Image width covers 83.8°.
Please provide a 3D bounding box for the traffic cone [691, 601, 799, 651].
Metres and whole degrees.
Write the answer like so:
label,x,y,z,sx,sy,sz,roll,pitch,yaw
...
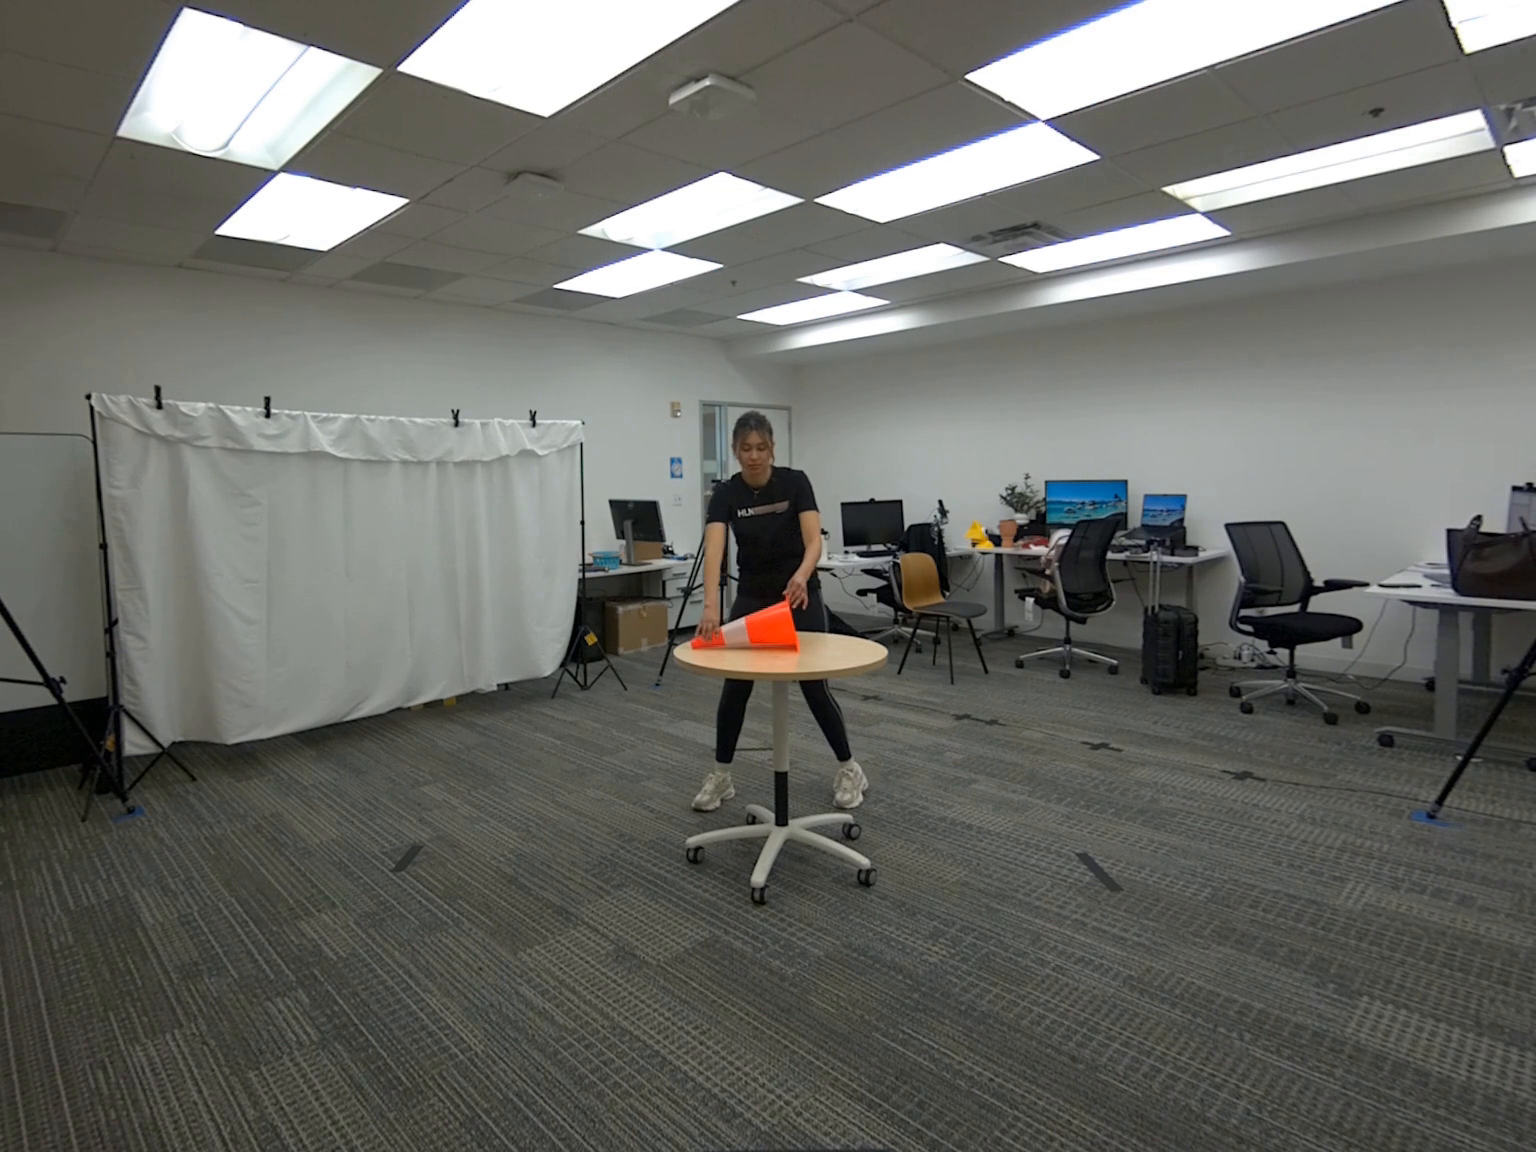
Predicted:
label,x,y,z,sx,sy,sz,roll,pitch,yaw
traffic cone,-0.098,0.201,3.105,0.383,0.205,0.204,-11,2,-1
